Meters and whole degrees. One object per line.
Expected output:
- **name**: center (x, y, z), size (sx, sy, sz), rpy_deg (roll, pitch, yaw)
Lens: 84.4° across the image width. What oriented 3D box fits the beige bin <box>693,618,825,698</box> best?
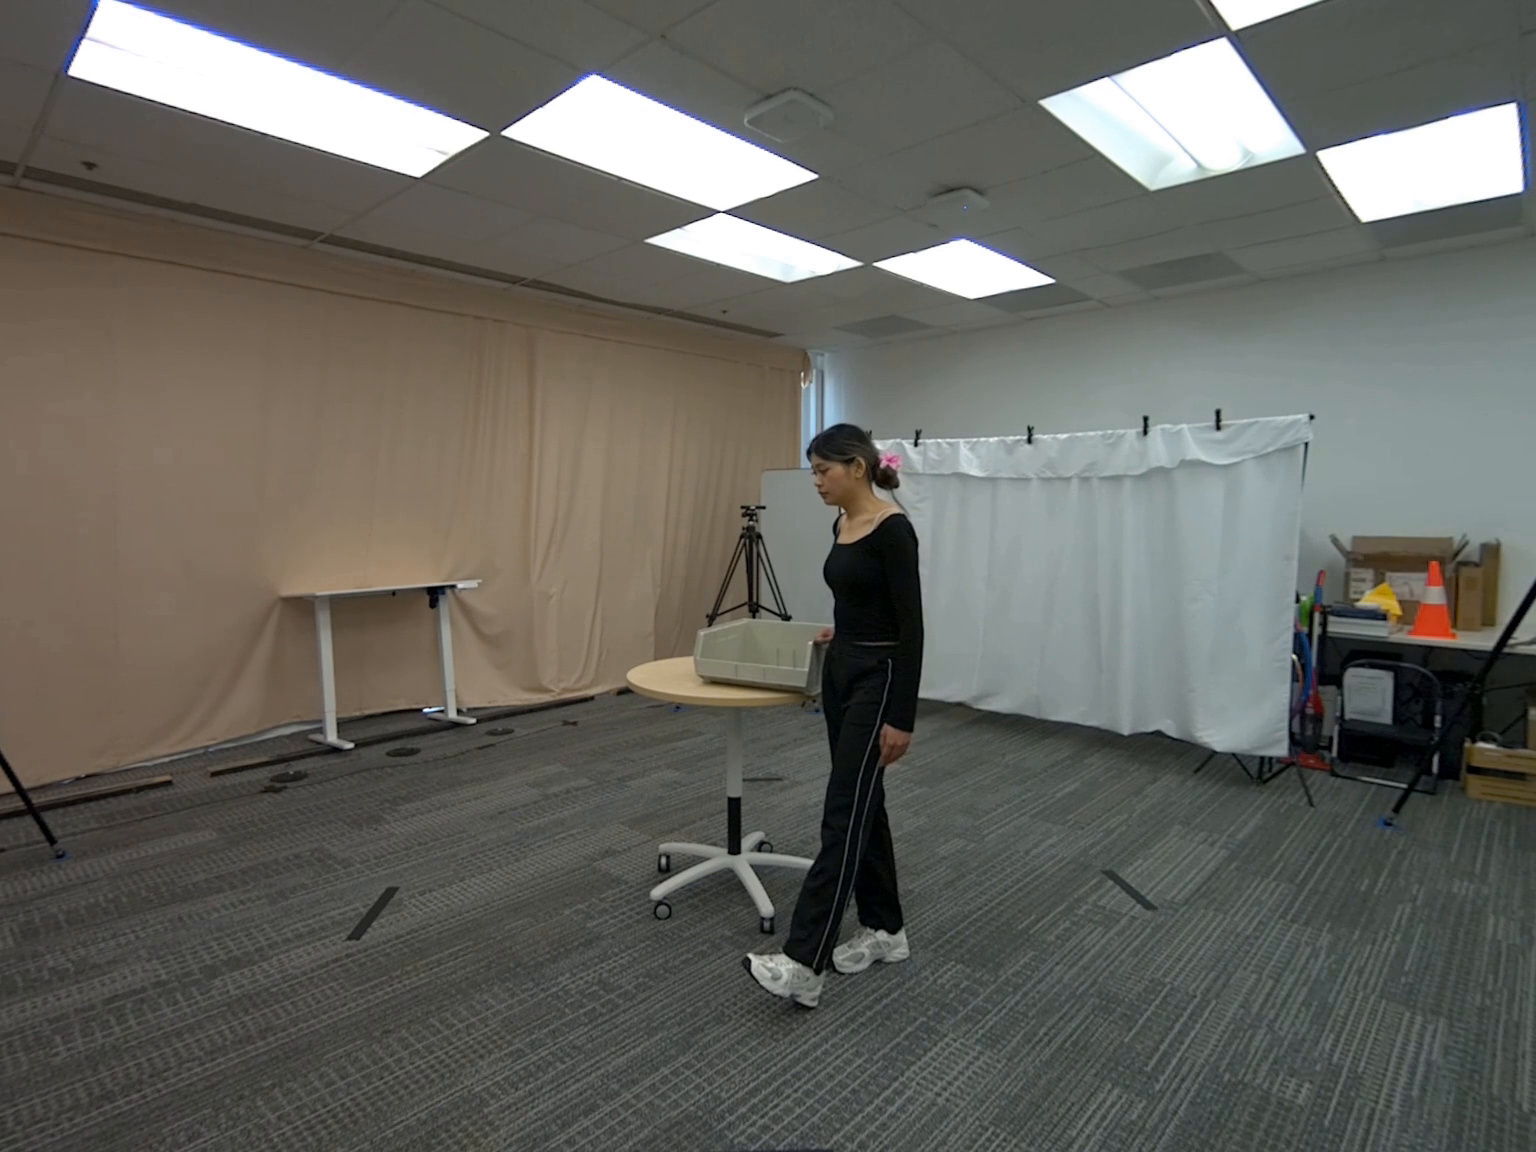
- **beige bin**: center (0.023, 0.271, 2.876), size (0.434, 0.189, 0.368), rpy_deg (2, 3, 27)
